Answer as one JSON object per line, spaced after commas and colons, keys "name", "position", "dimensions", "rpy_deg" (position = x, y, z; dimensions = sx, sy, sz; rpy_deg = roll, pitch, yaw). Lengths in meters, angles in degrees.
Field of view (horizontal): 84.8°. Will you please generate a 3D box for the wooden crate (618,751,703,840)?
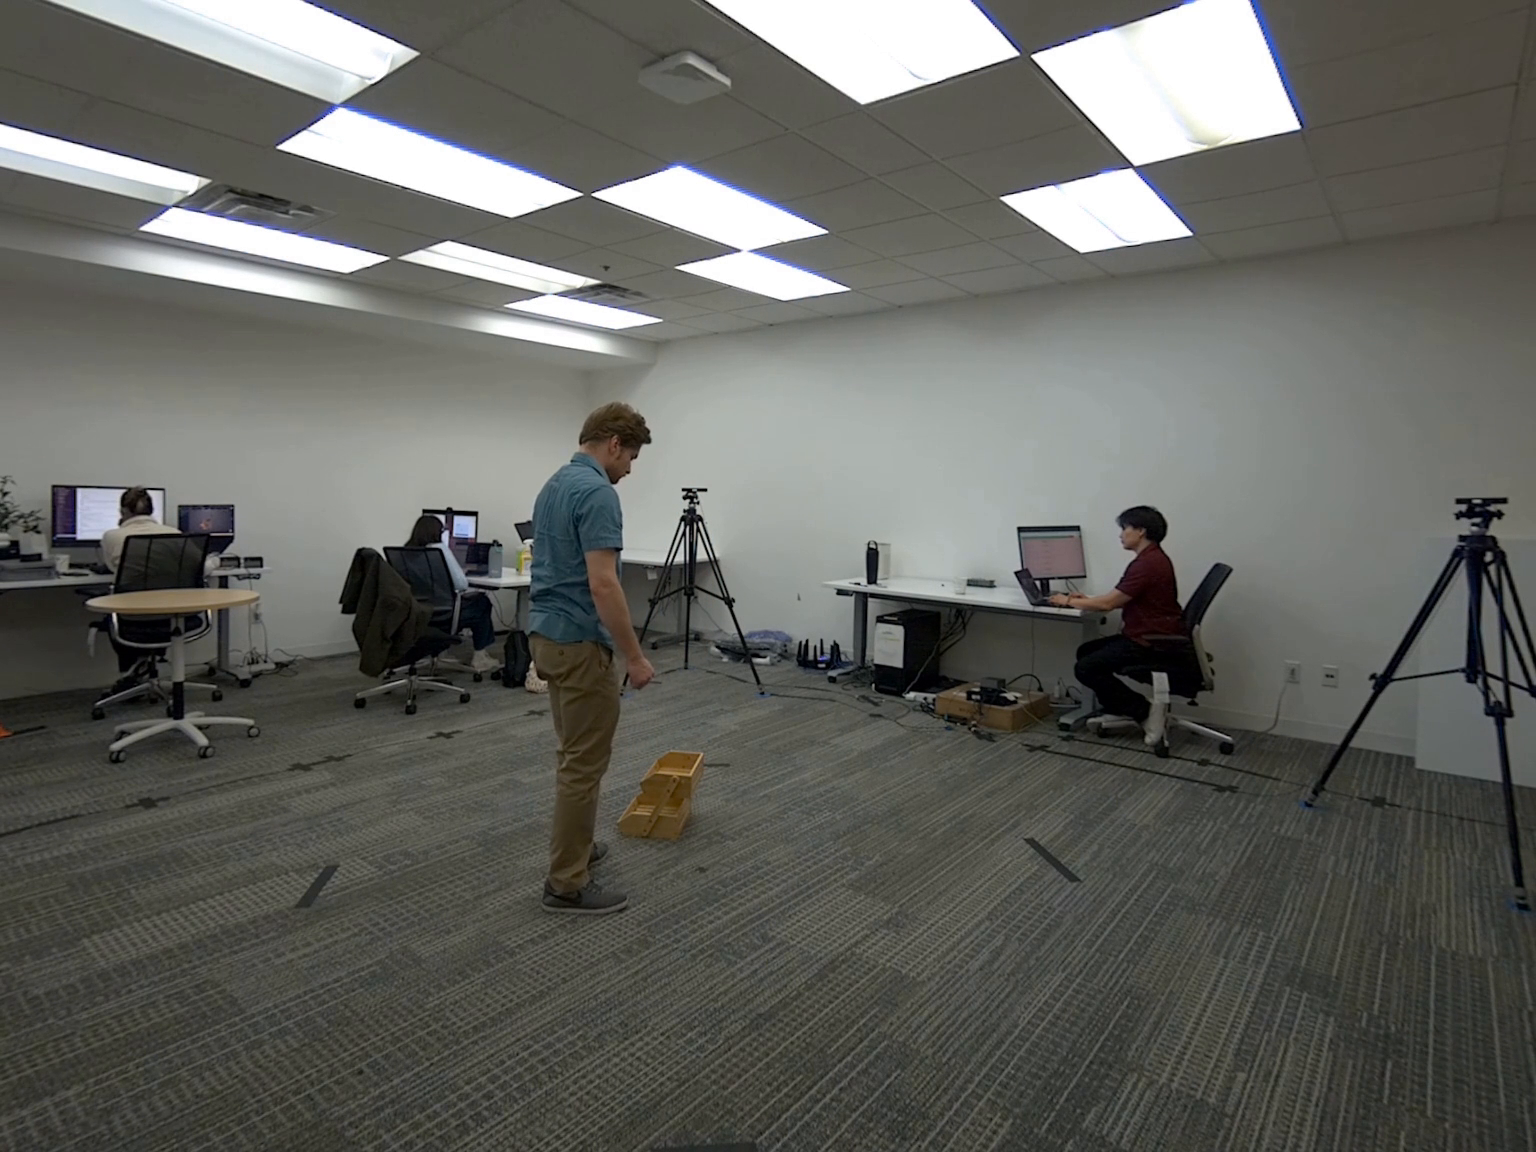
{"name": "wooden crate", "position": [-0.460, 0.893, 3.529], "dimensions": [0.304, 0.272, 0.323], "rpy_deg": [2, 5, 6]}
